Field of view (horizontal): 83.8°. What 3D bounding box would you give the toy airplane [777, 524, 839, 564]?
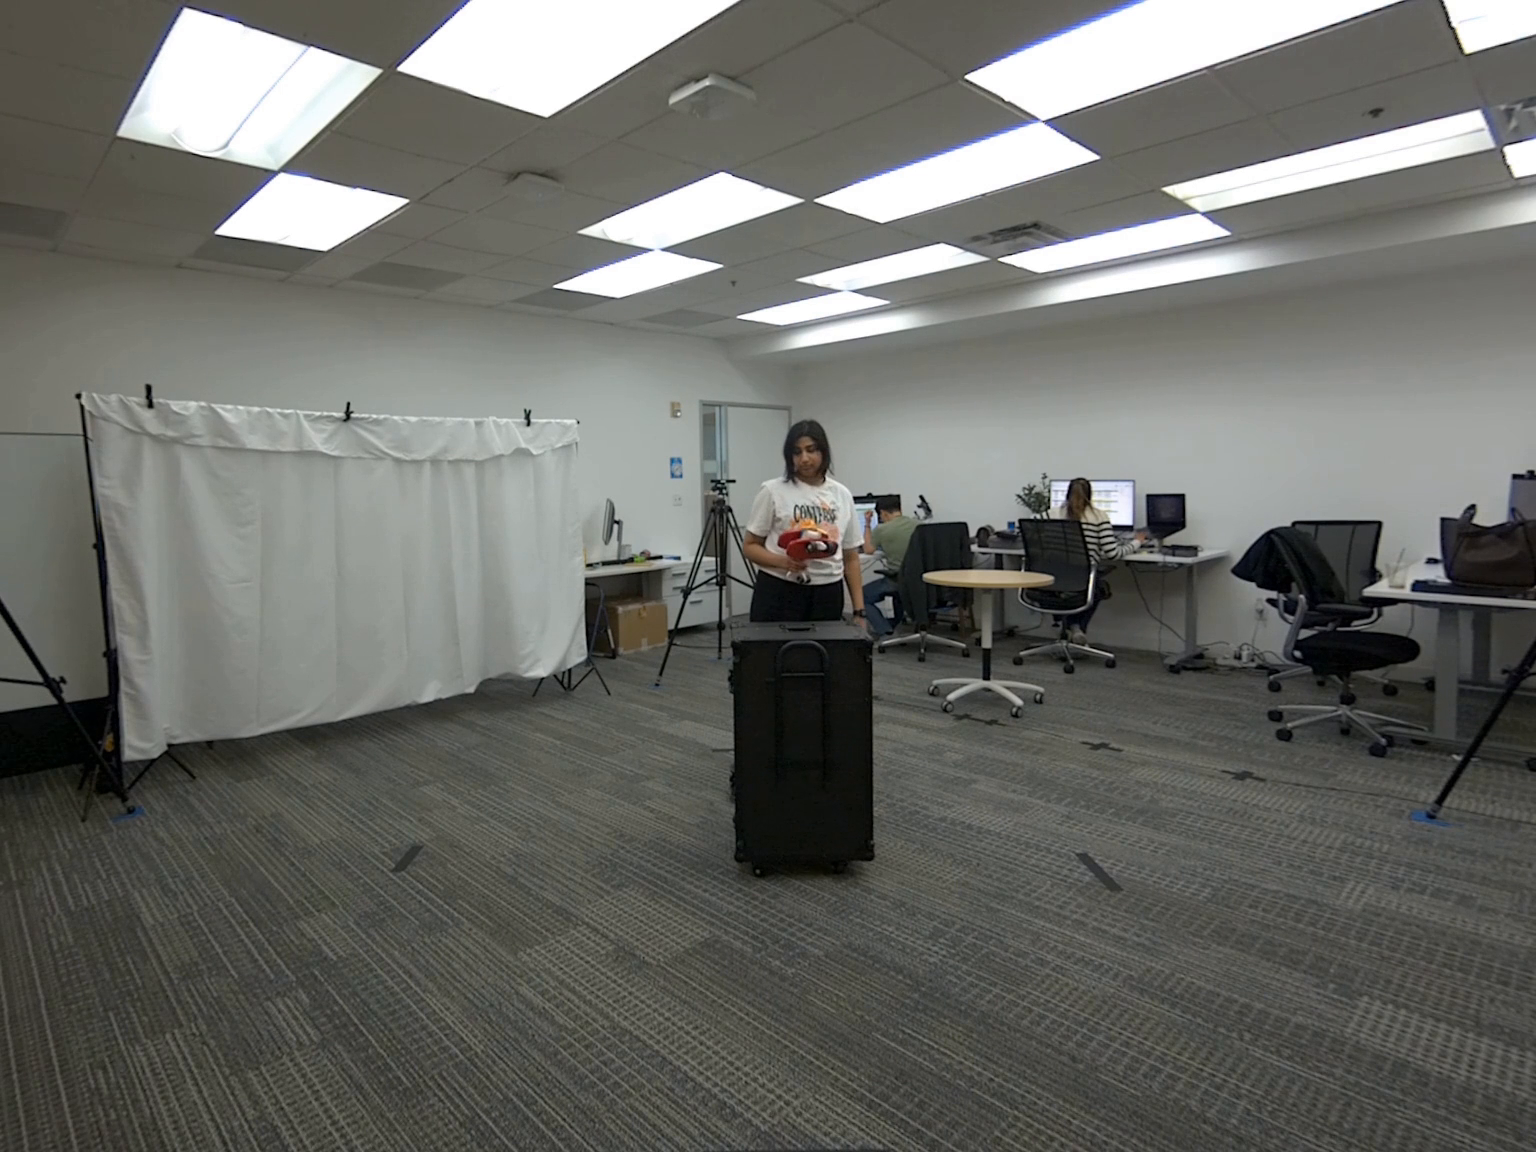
[{"bbox_3d":[0.145,-0.090,3.614,0.241,0.259,0.162,29,24,-48],"label":"toy airplane"}]
